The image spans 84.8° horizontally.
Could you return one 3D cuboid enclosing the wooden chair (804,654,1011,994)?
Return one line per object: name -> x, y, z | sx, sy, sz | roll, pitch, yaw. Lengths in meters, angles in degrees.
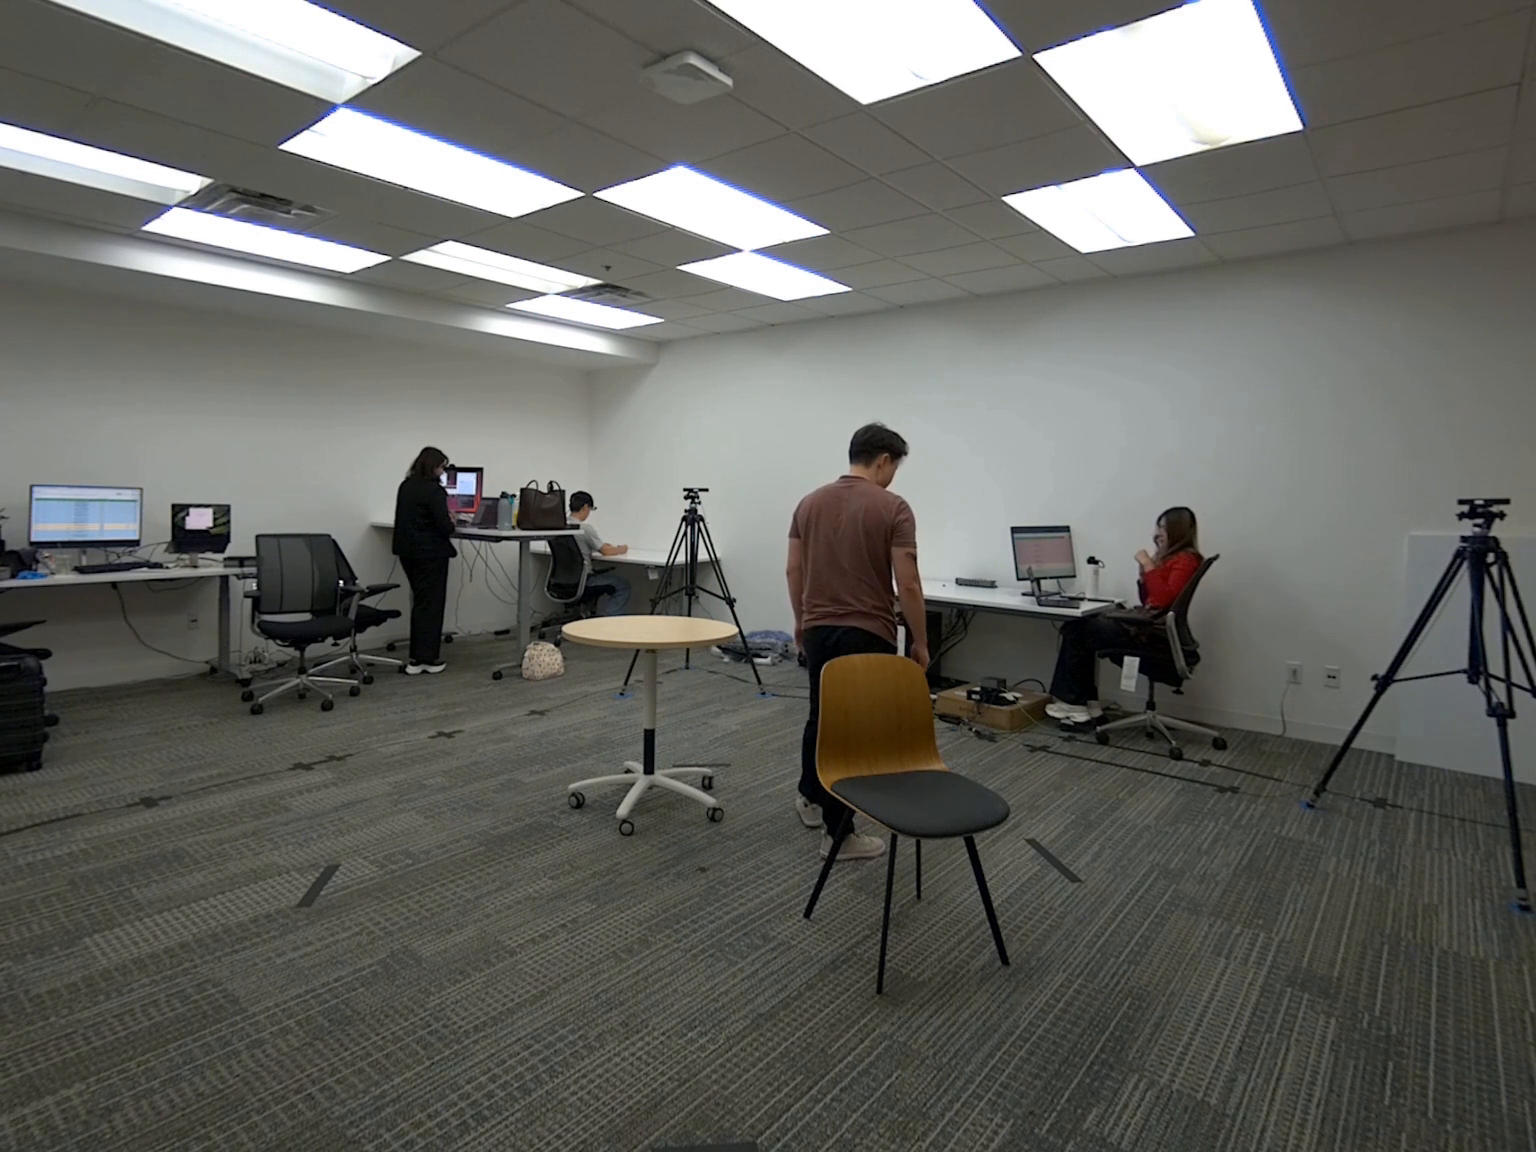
wooden chair -> 0.421, 0.704, 2.609 | 0.467, 0.878, 0.535 | 0, -1, -24
